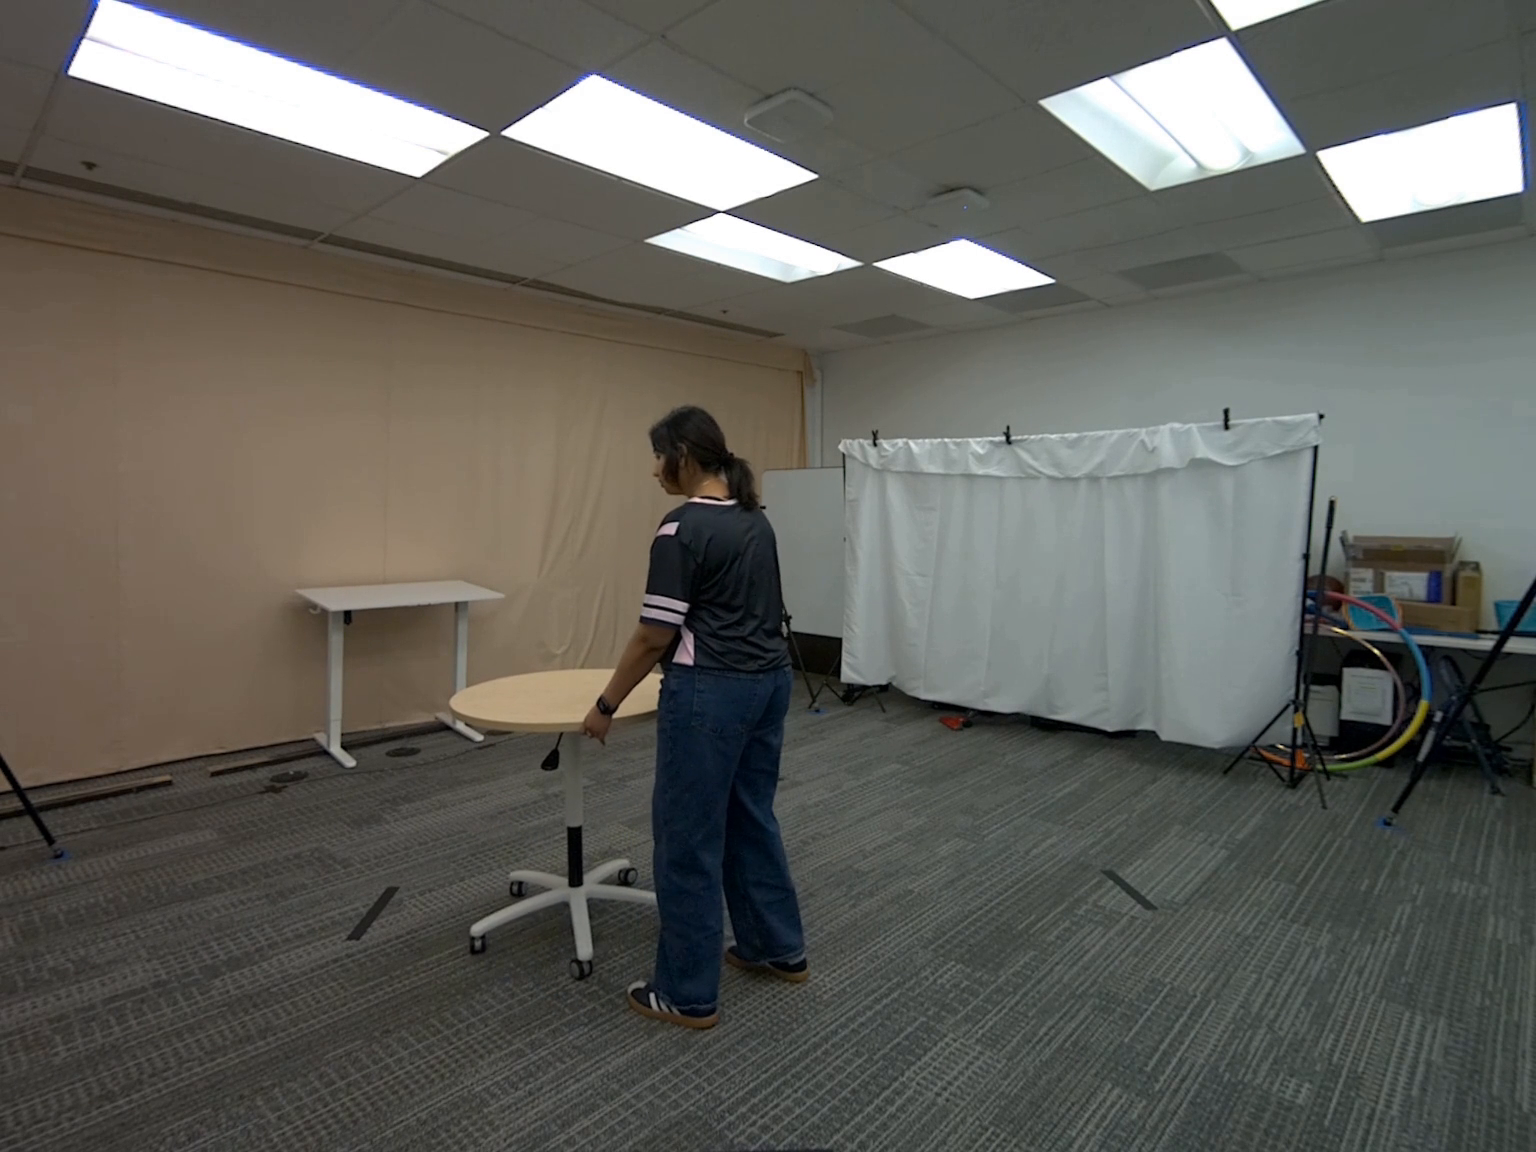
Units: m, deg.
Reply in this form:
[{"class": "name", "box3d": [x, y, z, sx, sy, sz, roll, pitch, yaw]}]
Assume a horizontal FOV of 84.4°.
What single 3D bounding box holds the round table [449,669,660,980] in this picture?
[{"class": "round table", "box3d": [-0.633, 0.774, 2.785, 0.763, 0.792, 0.767, -1, 4, -2]}]
